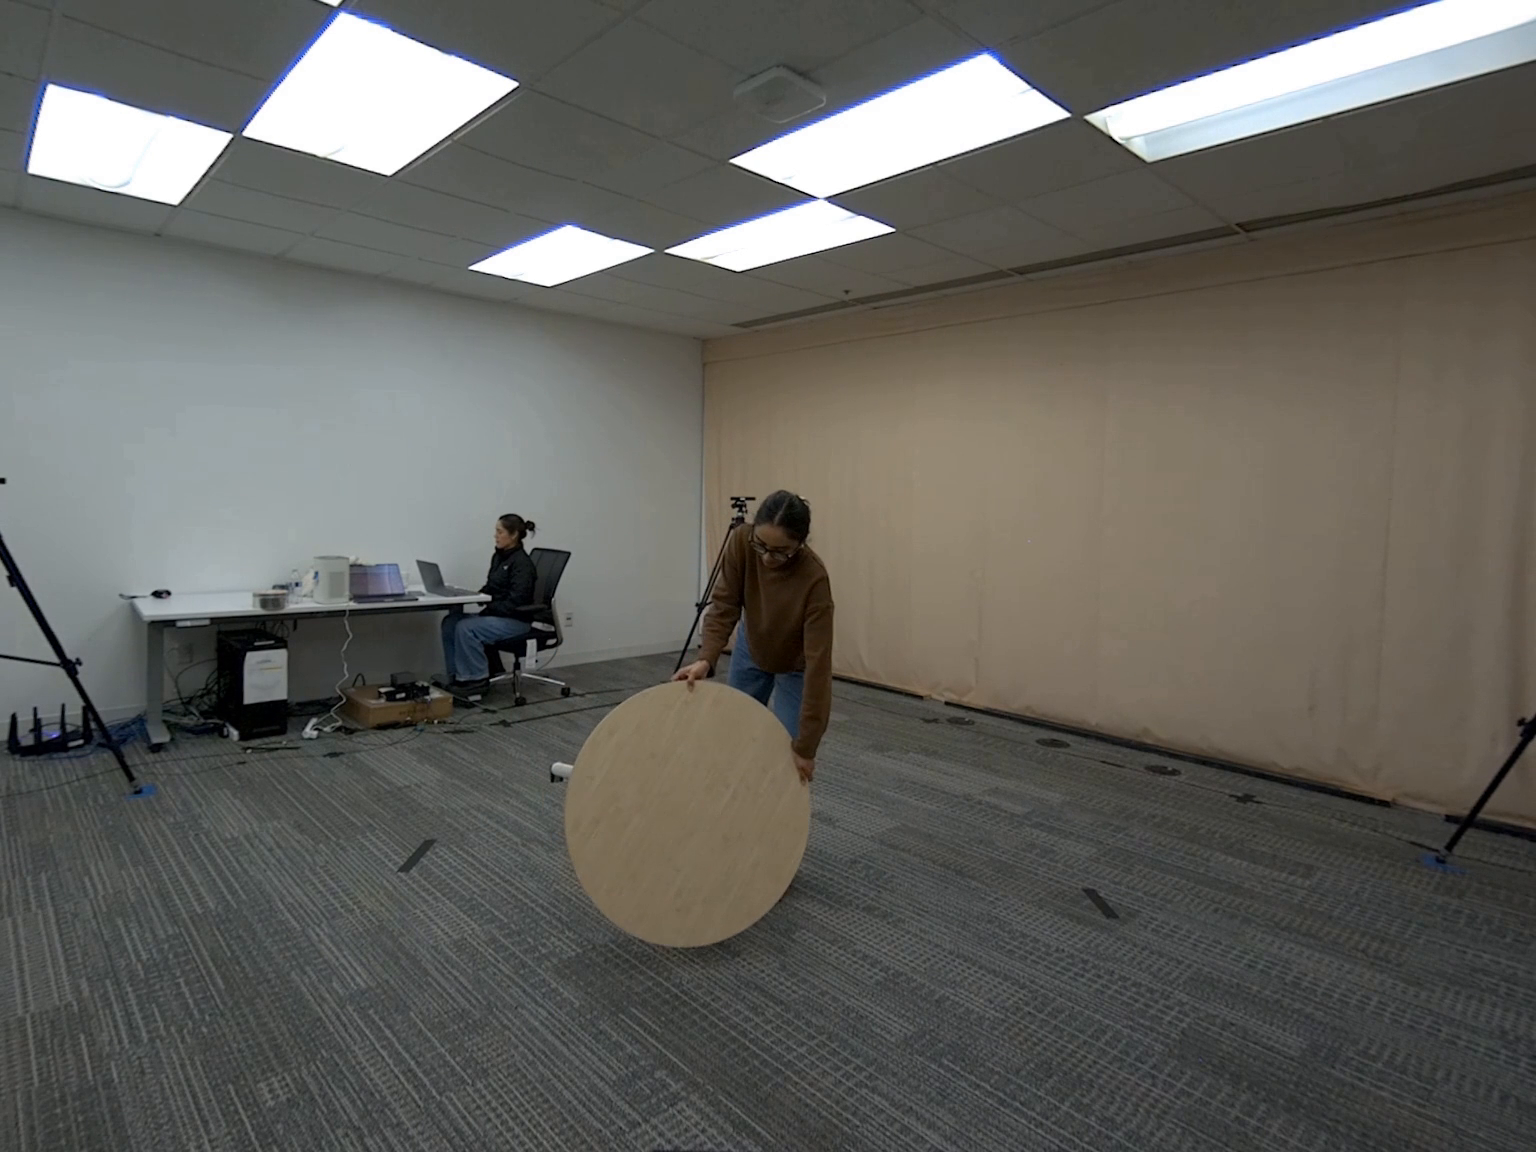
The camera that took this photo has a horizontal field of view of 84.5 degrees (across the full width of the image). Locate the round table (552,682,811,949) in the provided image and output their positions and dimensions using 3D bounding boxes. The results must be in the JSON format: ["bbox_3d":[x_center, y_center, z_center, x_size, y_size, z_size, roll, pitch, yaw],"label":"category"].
[{"bbox_3d":[-0.367,0.758,2.883,0.752,0.770,0.800,0,-9,-20],"label":"round table"}]
